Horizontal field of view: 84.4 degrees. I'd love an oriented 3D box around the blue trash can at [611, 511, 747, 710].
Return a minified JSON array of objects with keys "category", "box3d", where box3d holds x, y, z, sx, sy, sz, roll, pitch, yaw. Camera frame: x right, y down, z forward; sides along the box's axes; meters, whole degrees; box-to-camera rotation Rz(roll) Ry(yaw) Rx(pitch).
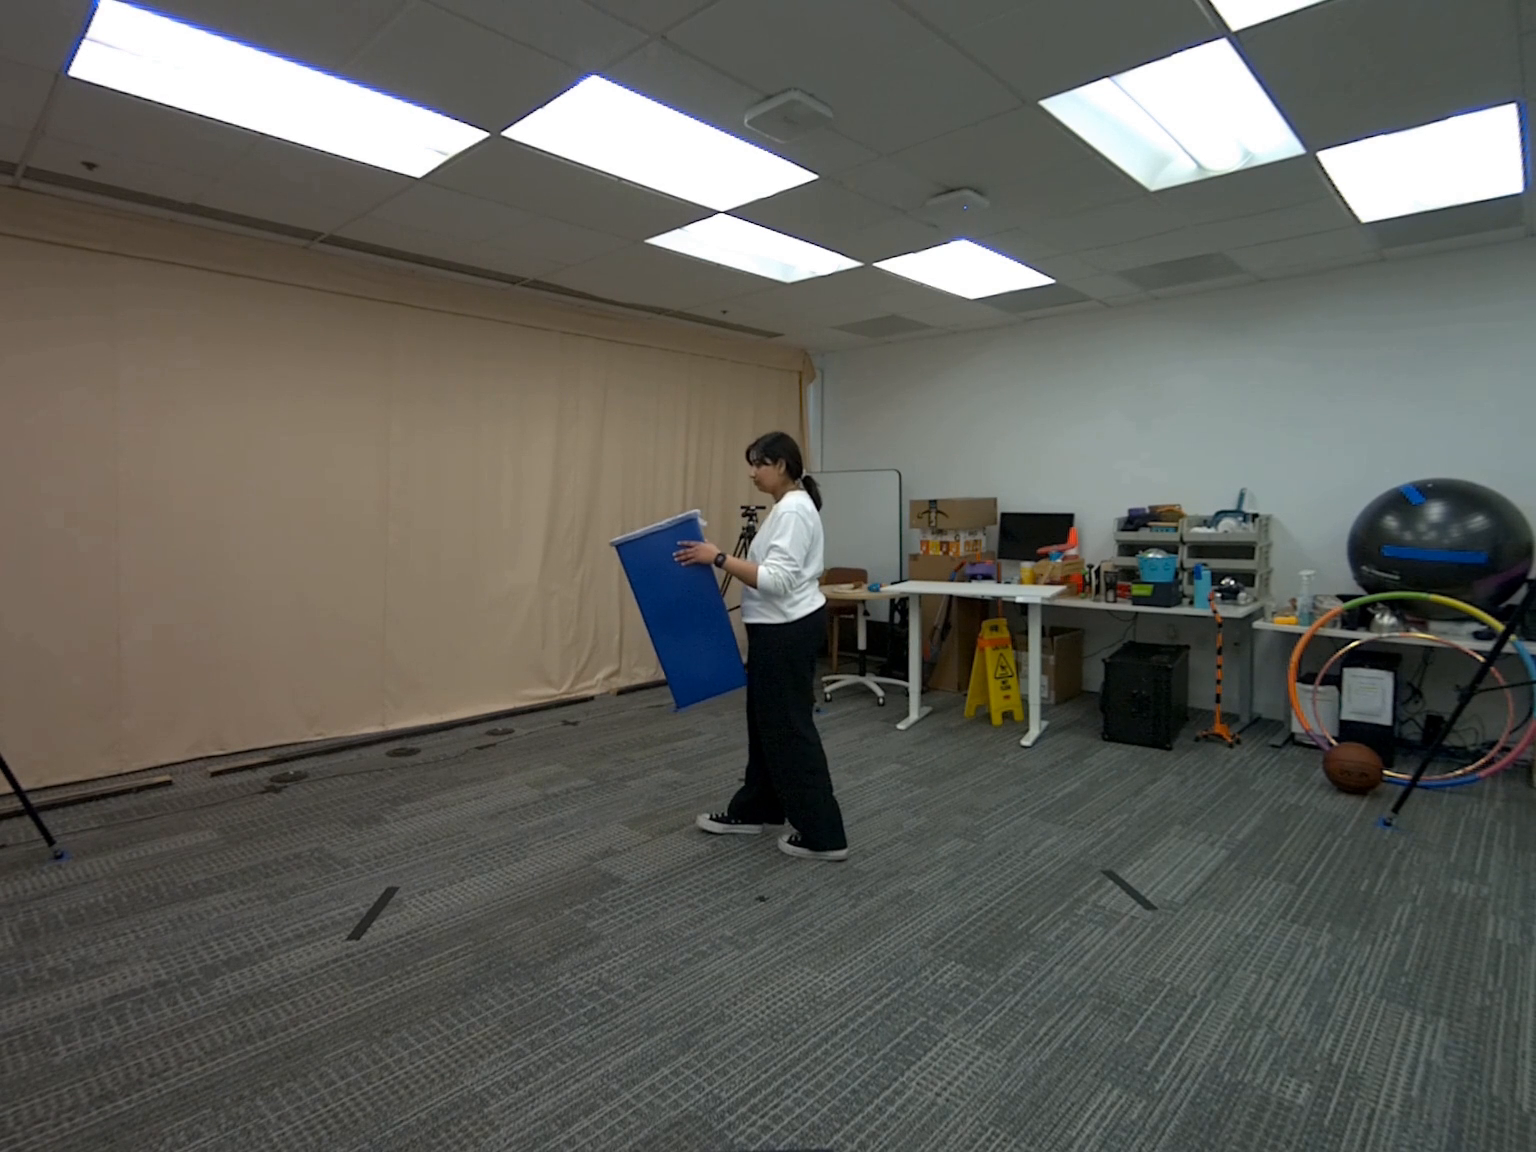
[{"category":"blue trash can","box3d":[-0.354,0.126,3.442,0.372,0.711,0.381,-19,3,-7]}]
